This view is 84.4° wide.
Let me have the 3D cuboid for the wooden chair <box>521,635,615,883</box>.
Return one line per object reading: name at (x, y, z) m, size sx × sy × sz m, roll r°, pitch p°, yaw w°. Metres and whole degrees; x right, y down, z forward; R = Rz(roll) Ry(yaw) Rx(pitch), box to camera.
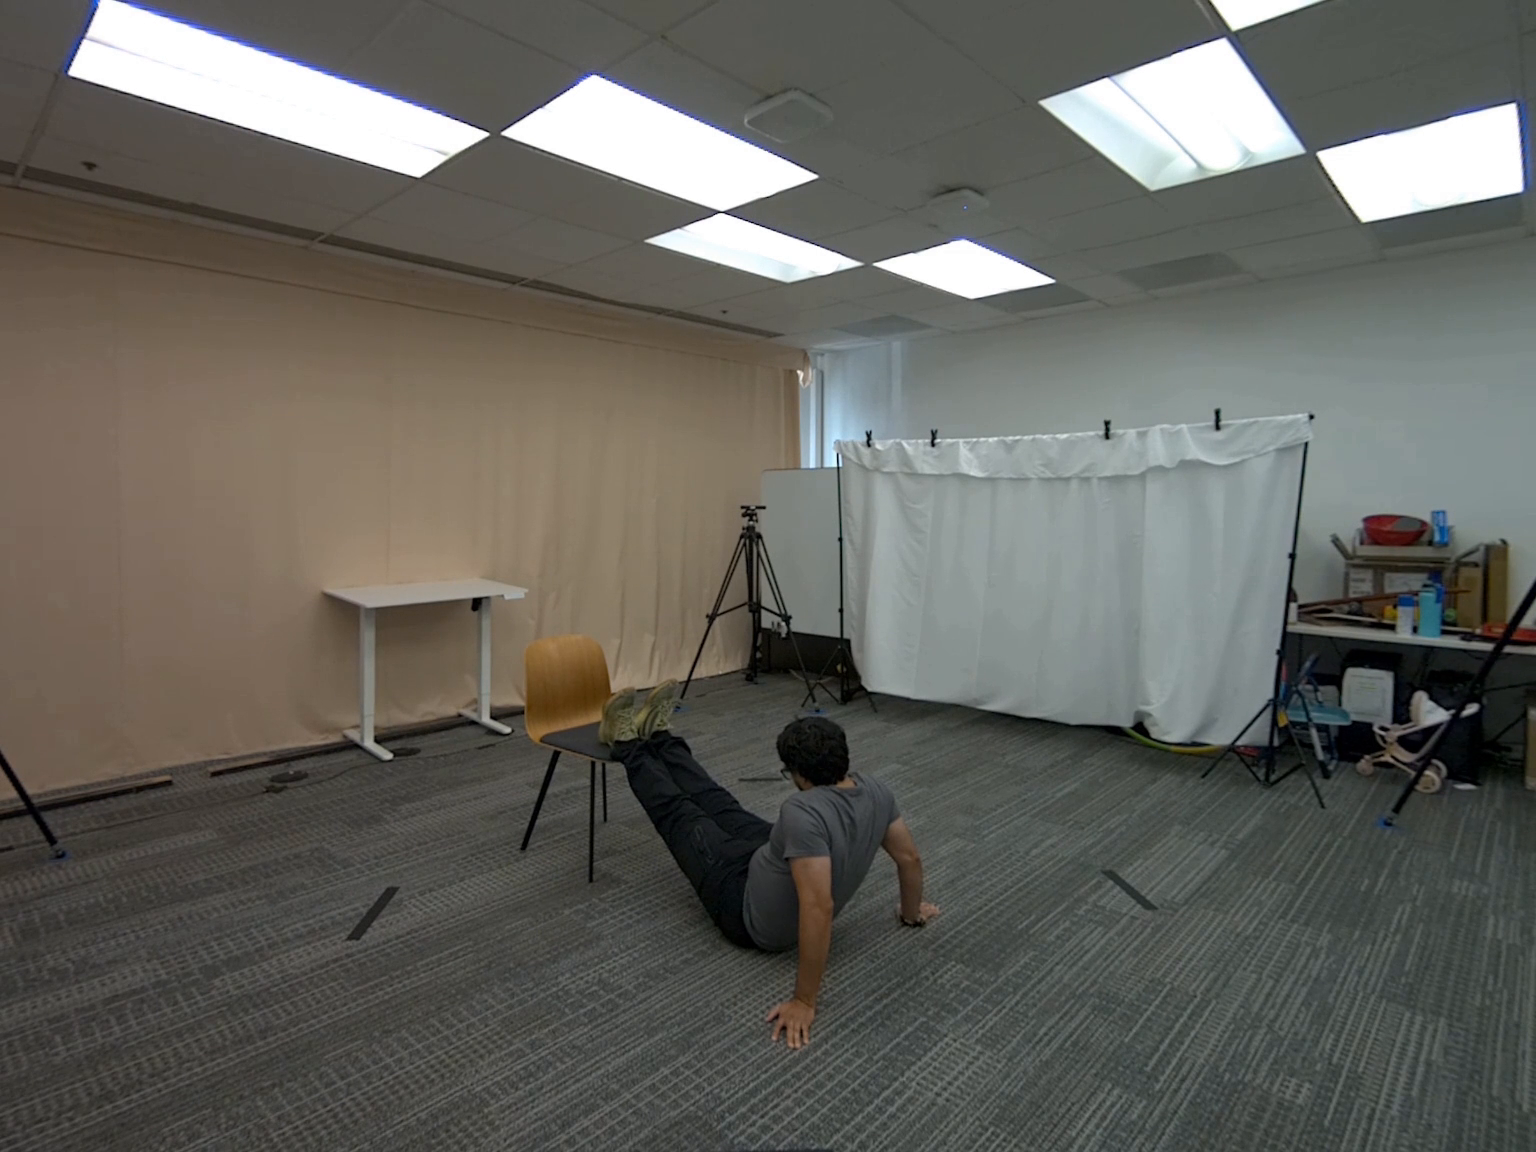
wooden chair at (-0.688, 0.691, 3.401) m, size 0.539 × 0.877 × 0.463 m, roll -3°, pitch 1°, yaw 42°
